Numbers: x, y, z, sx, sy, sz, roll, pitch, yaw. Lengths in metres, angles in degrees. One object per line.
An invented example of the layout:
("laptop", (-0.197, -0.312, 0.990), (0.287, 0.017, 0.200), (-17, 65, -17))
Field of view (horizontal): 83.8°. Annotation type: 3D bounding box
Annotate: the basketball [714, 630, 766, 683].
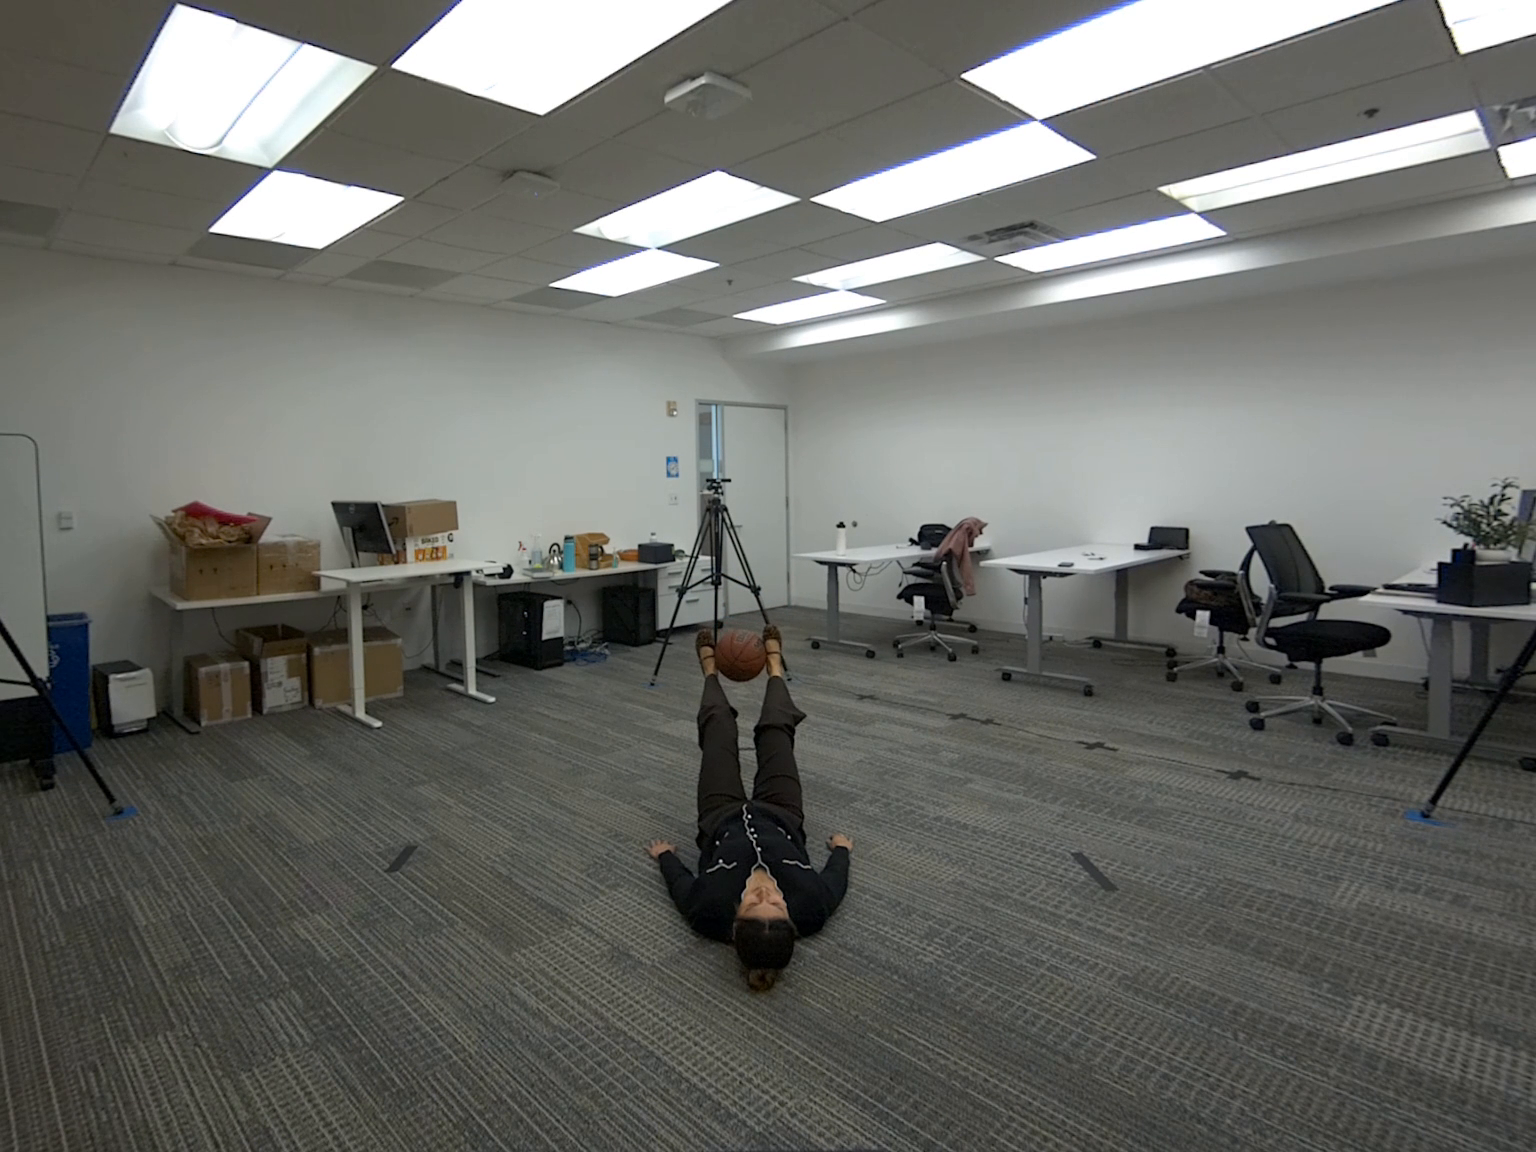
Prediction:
("basketball", (-0.122, 0.353, 3.852), (0.236, 0.235, 0.237), (-4, 4, -1))
